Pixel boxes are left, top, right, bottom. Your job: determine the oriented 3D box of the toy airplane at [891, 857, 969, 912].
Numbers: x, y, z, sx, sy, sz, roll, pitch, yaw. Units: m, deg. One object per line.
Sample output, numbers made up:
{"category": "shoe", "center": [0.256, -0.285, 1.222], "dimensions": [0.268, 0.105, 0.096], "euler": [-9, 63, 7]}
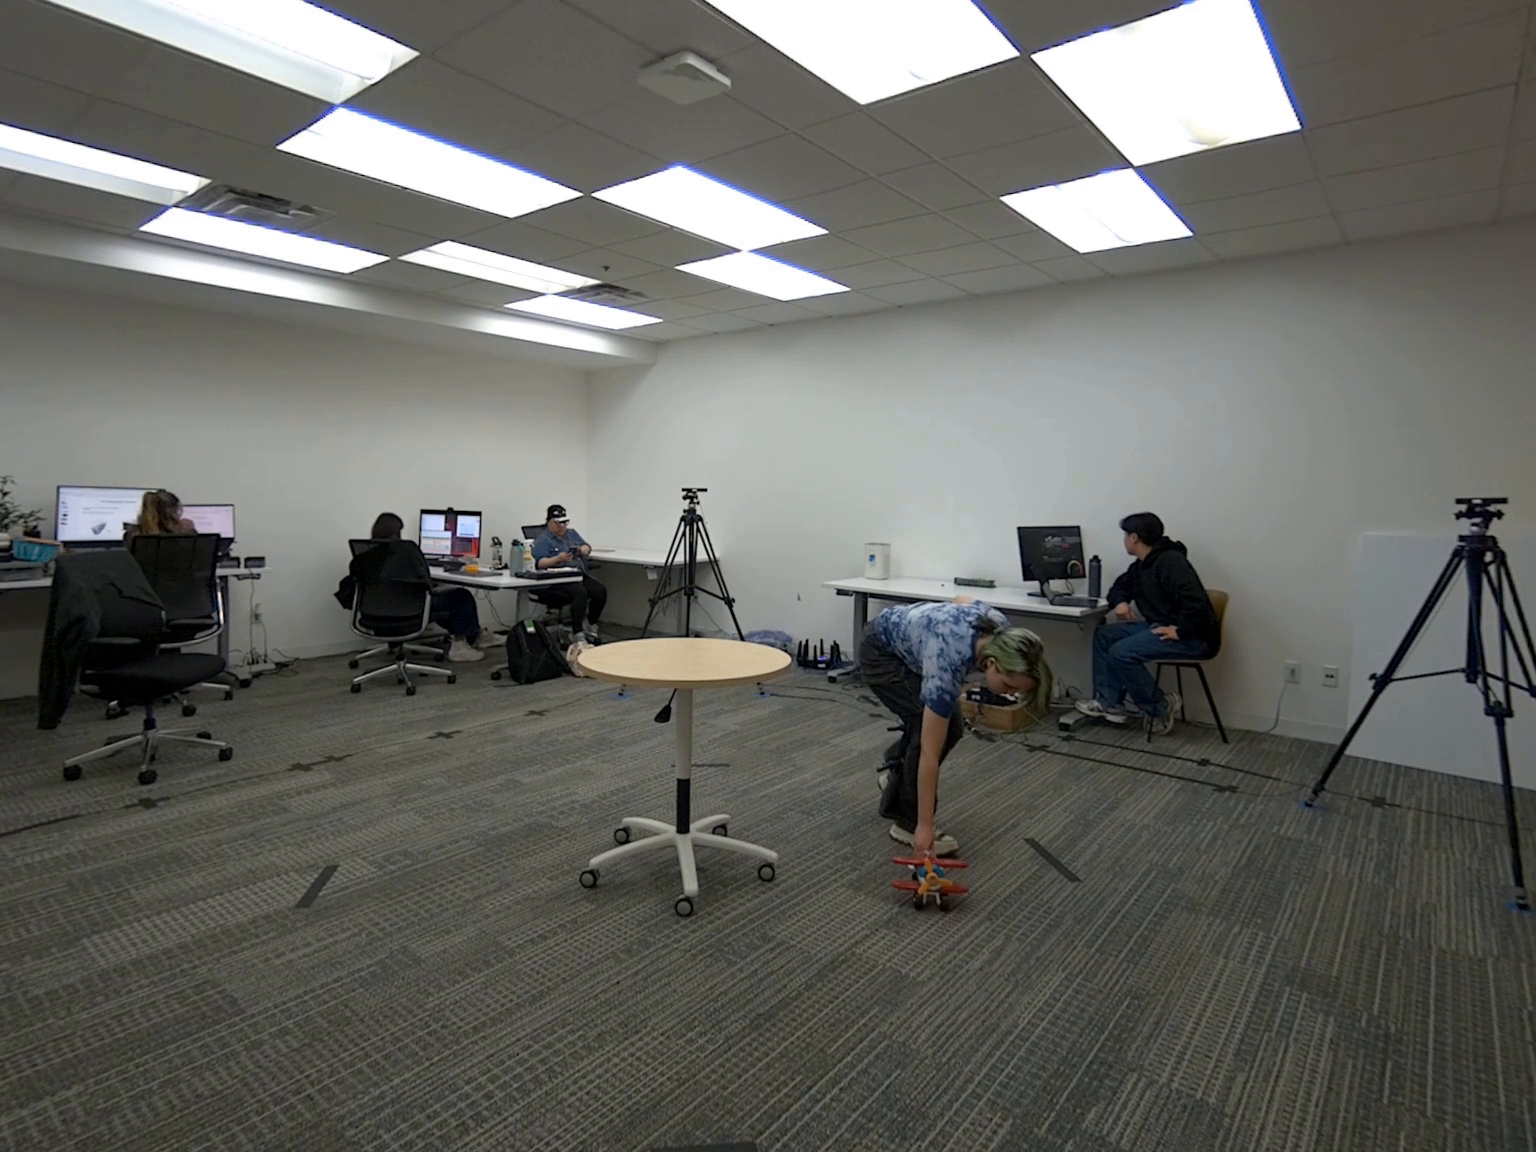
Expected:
{"category": "toy airplane", "center": [0.527, 1.030, 2.936], "dimensions": [0.246, 0.156, 0.266], "euler": [-1, 6, -22]}
